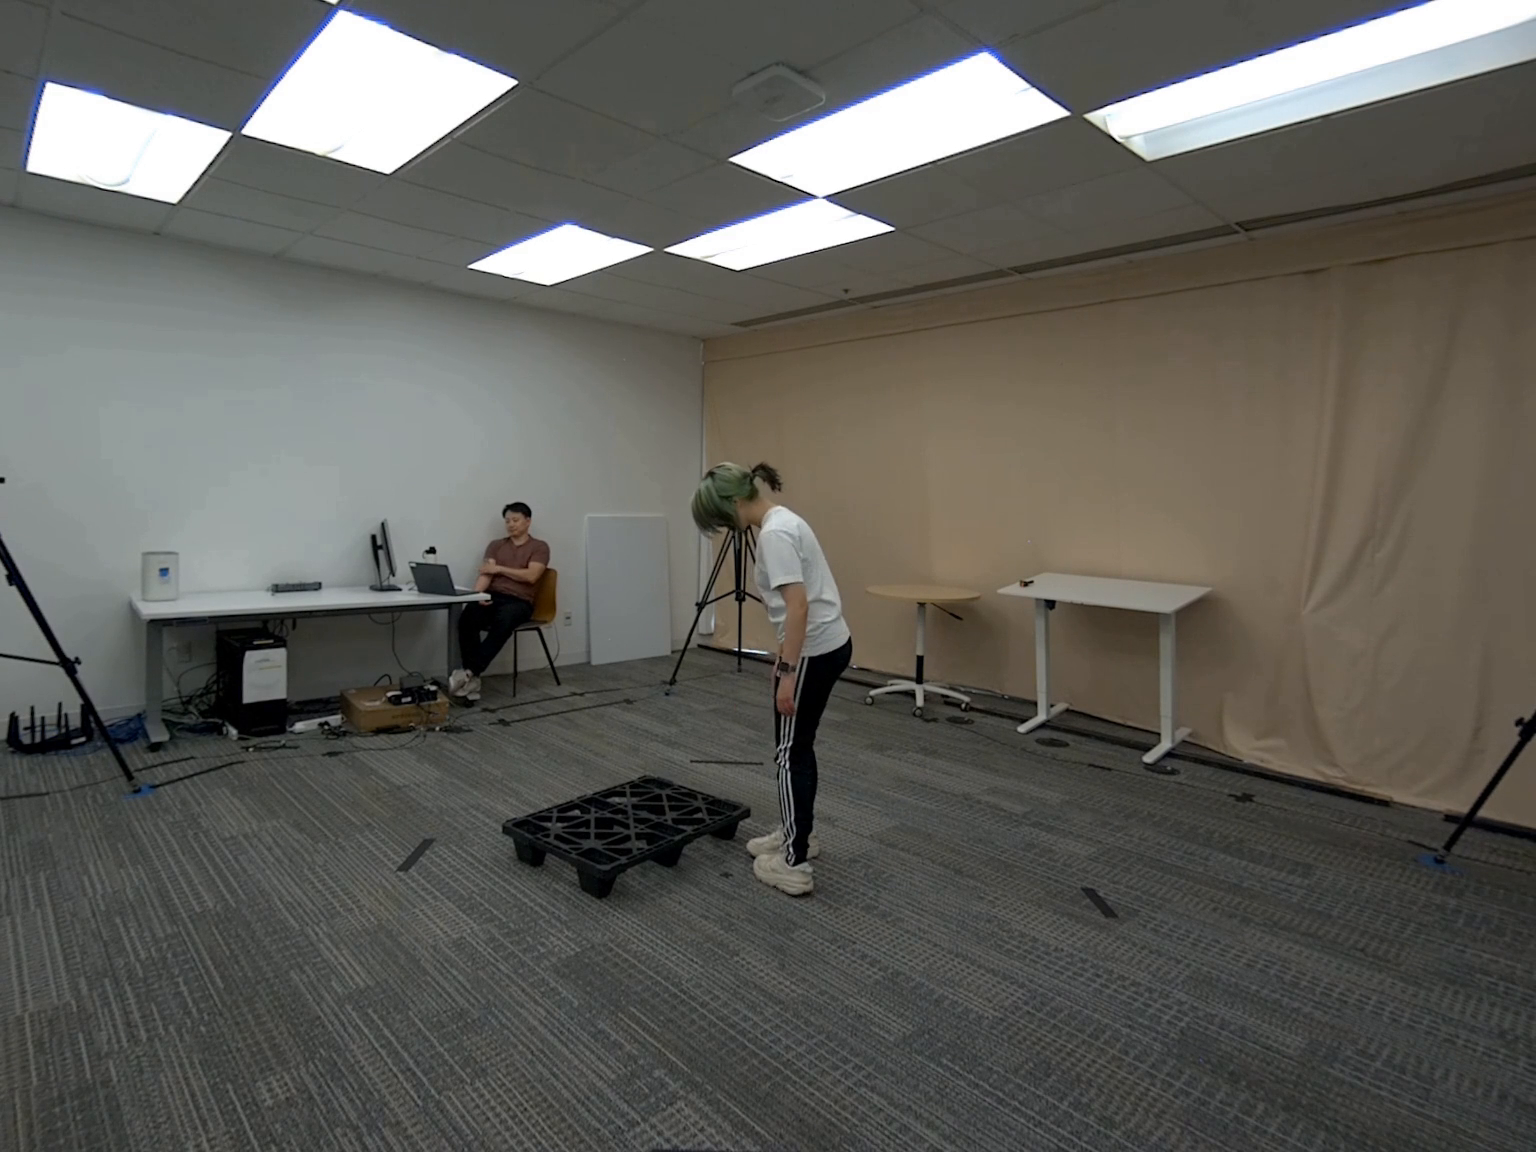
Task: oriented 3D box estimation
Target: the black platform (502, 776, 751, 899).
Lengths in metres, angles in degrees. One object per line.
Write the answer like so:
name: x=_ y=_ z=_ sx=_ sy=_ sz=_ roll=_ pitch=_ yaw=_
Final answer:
black platform: x=-0.556 y=1.011 z=3.317 sx=0.620 sy=0.143 sz=0.788 roll=5 pitch=6 yaw=38
